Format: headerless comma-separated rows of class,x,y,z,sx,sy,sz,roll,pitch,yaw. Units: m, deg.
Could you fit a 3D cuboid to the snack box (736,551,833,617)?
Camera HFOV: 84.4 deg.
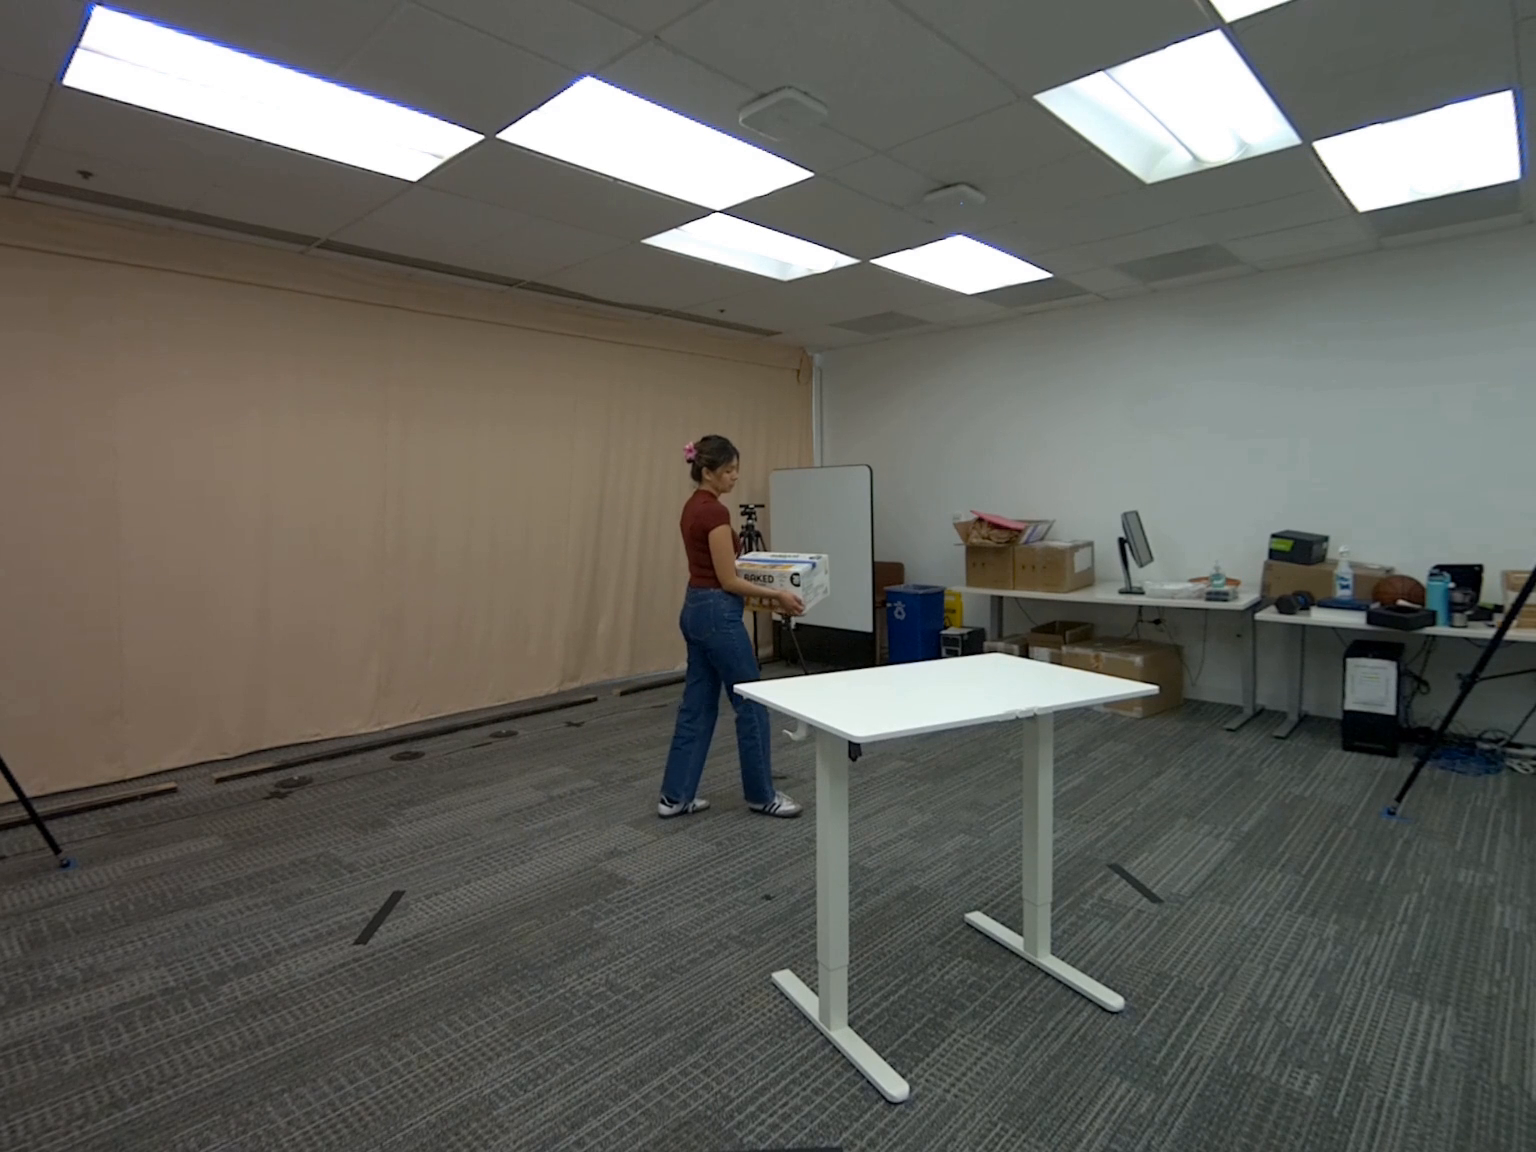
snack box,0.041,0.024,3.953,0.416,0.204,0.334,3,14,27
